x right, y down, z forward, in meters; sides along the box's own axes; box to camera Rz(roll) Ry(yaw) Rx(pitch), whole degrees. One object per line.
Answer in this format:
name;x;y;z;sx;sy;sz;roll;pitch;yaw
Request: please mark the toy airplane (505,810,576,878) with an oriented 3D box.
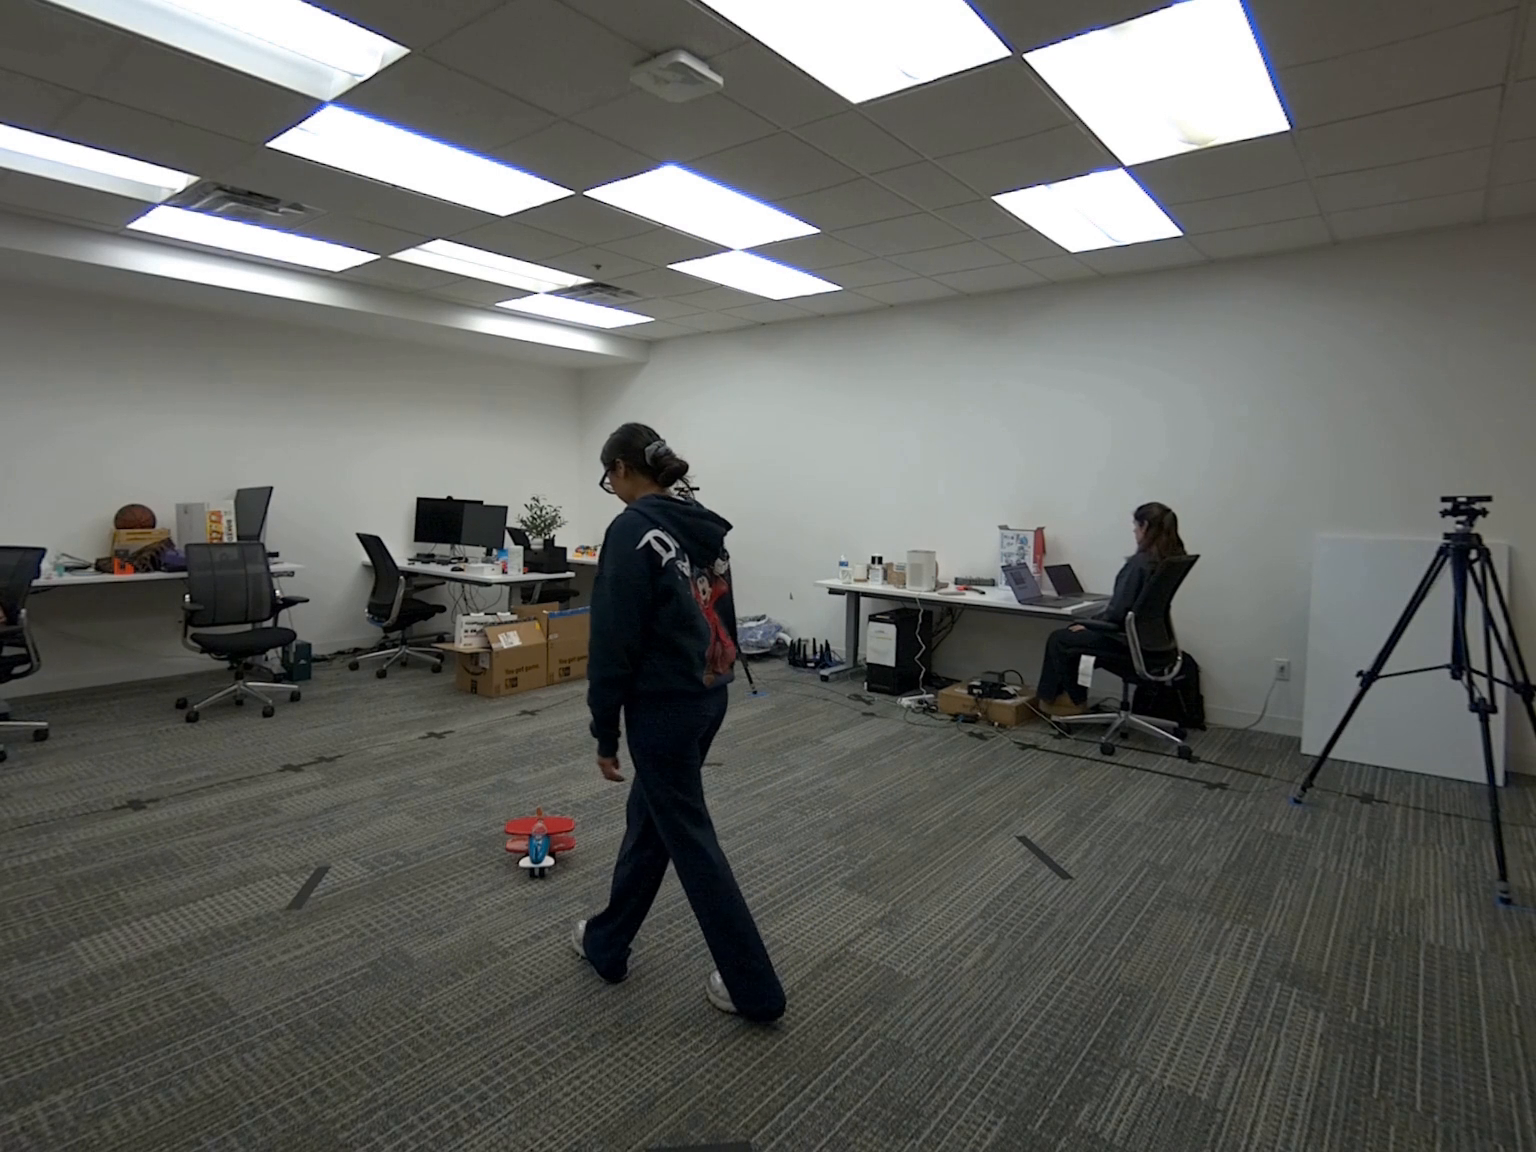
toy airplane;-0.831;0.981;3.114;0.244;0.156;0.267;-3;5;-36
